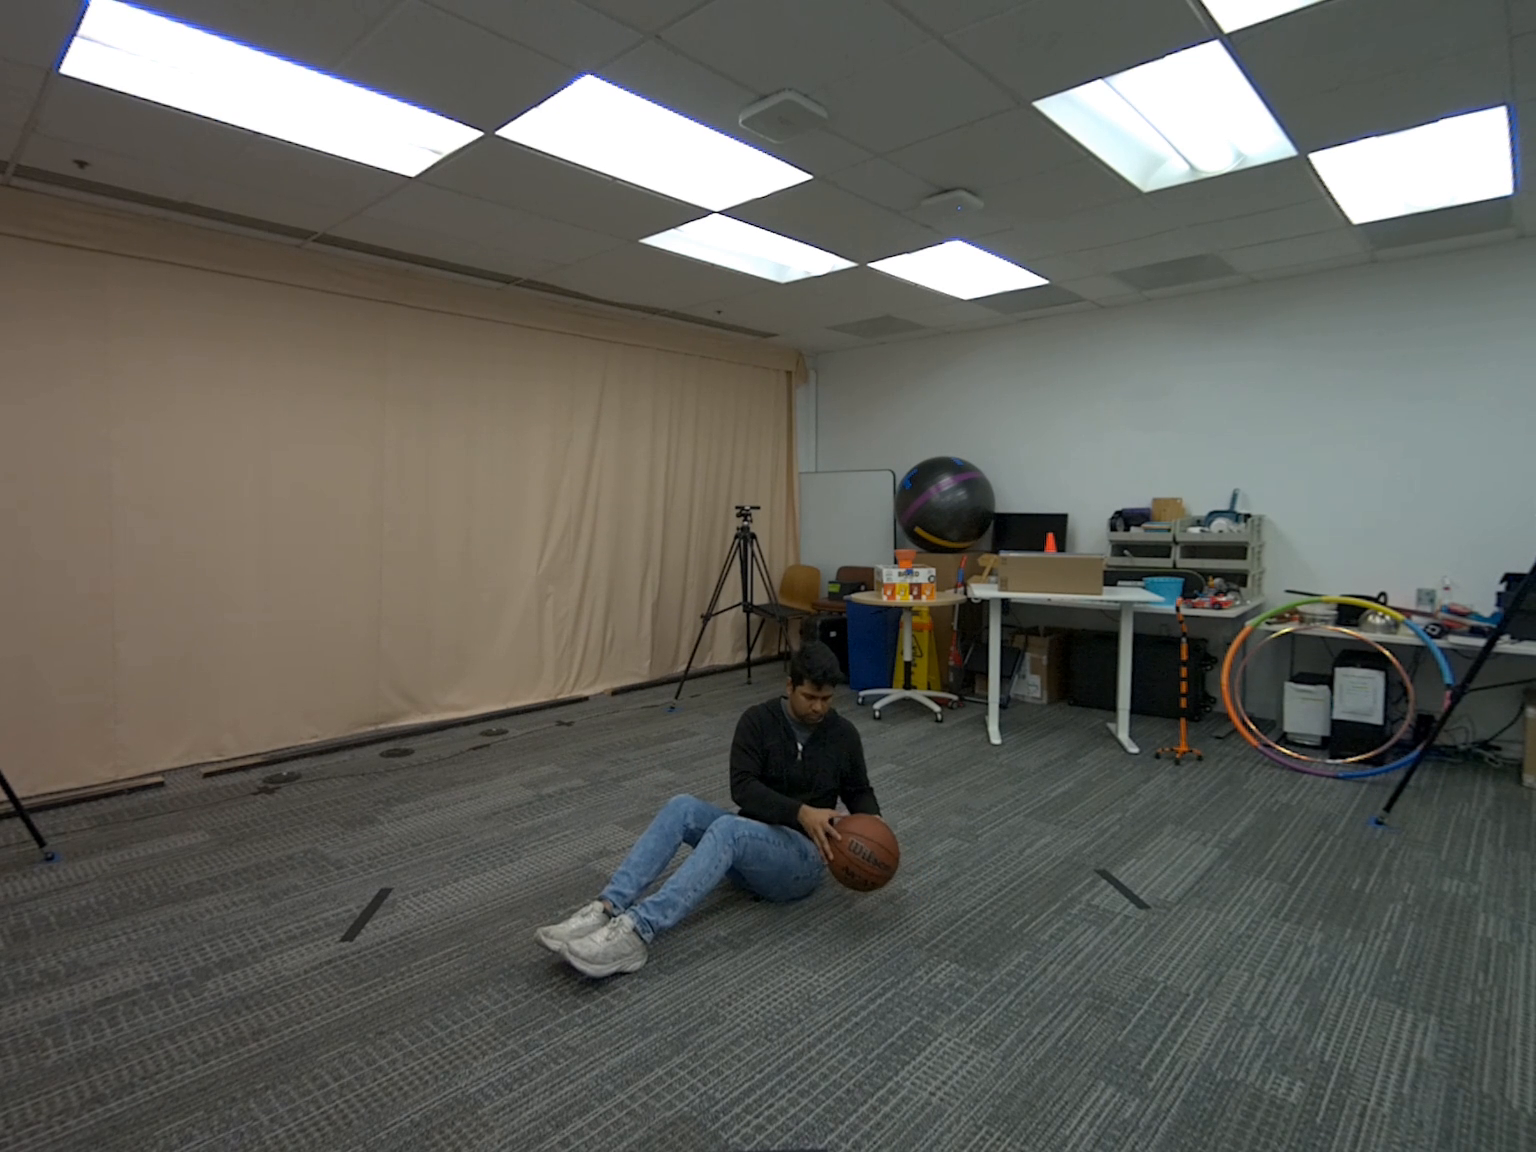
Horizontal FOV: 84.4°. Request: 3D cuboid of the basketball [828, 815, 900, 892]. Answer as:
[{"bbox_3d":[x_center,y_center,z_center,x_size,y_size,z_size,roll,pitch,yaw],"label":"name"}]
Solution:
[{"bbox_3d":[0.295,0.888,2.733,0.236,0.235,0.237,0,4,-2],"label":"basketball"}]
